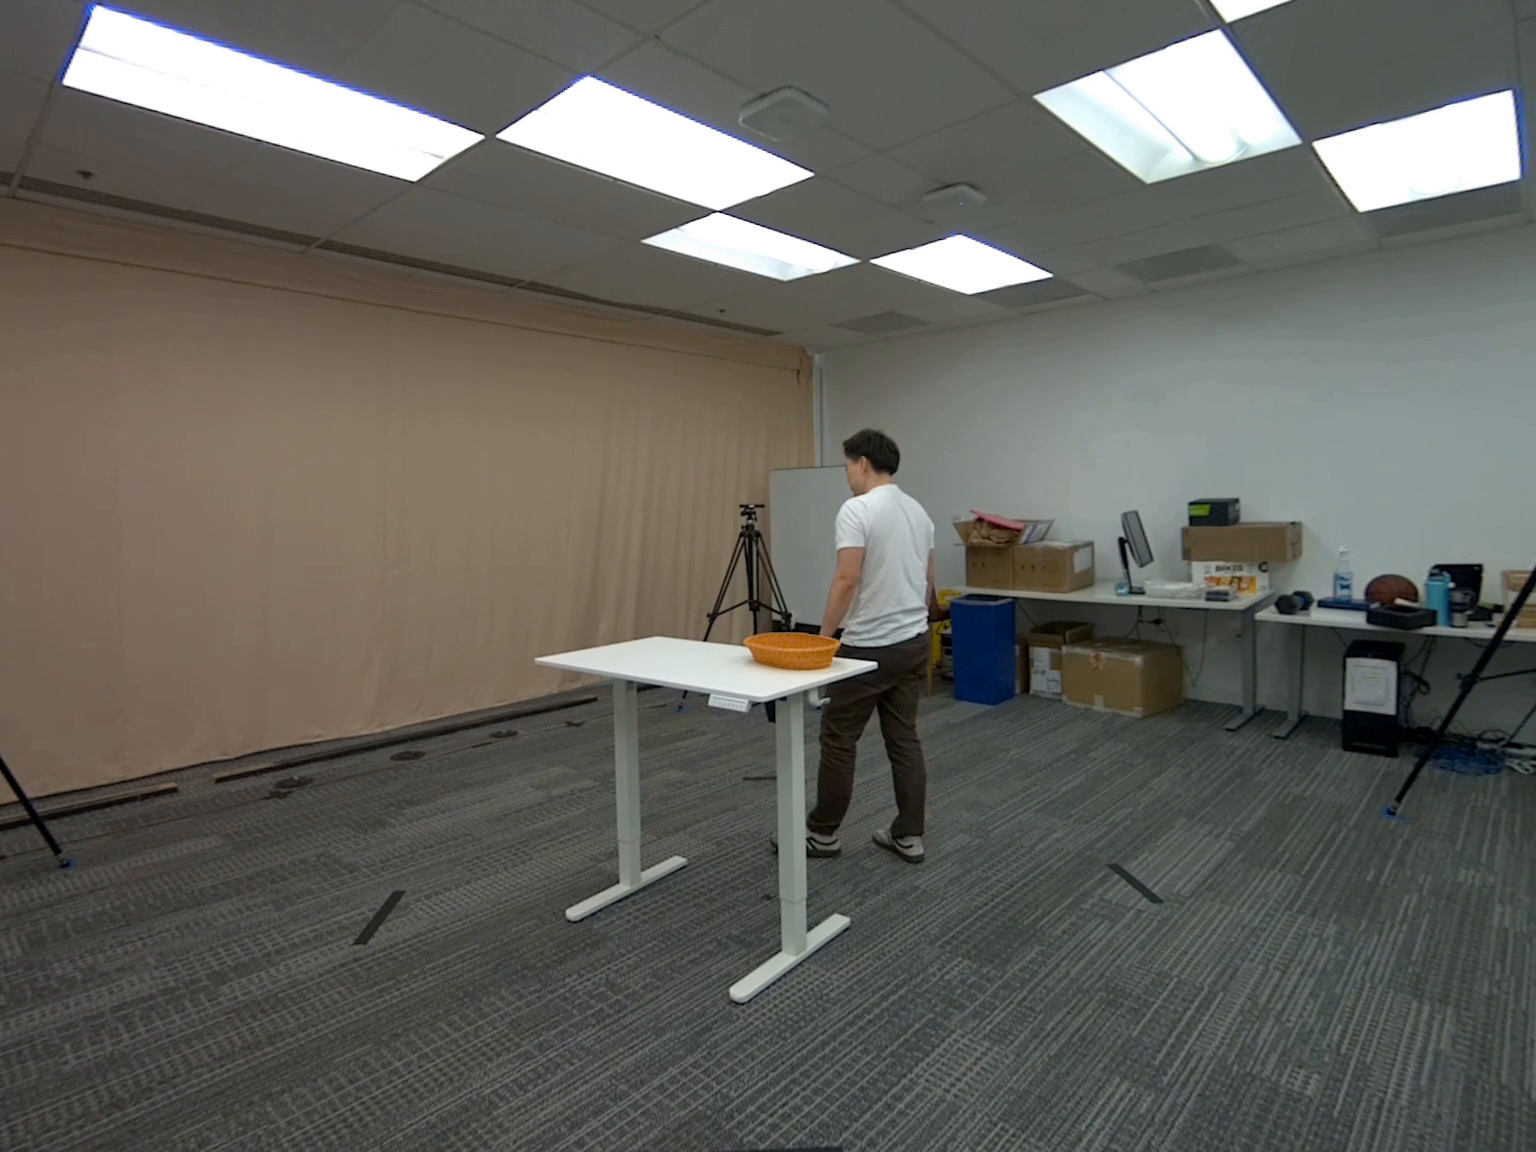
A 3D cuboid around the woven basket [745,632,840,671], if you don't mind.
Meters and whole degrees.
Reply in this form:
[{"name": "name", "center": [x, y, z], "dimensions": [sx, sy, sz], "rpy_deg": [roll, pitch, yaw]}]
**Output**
[{"name": "woven basket", "center": [0.066, 0.249, 2.689], "dimensions": [0.245, 0.073, 0.361], "rpy_deg": [-5, 6, -35]}]
